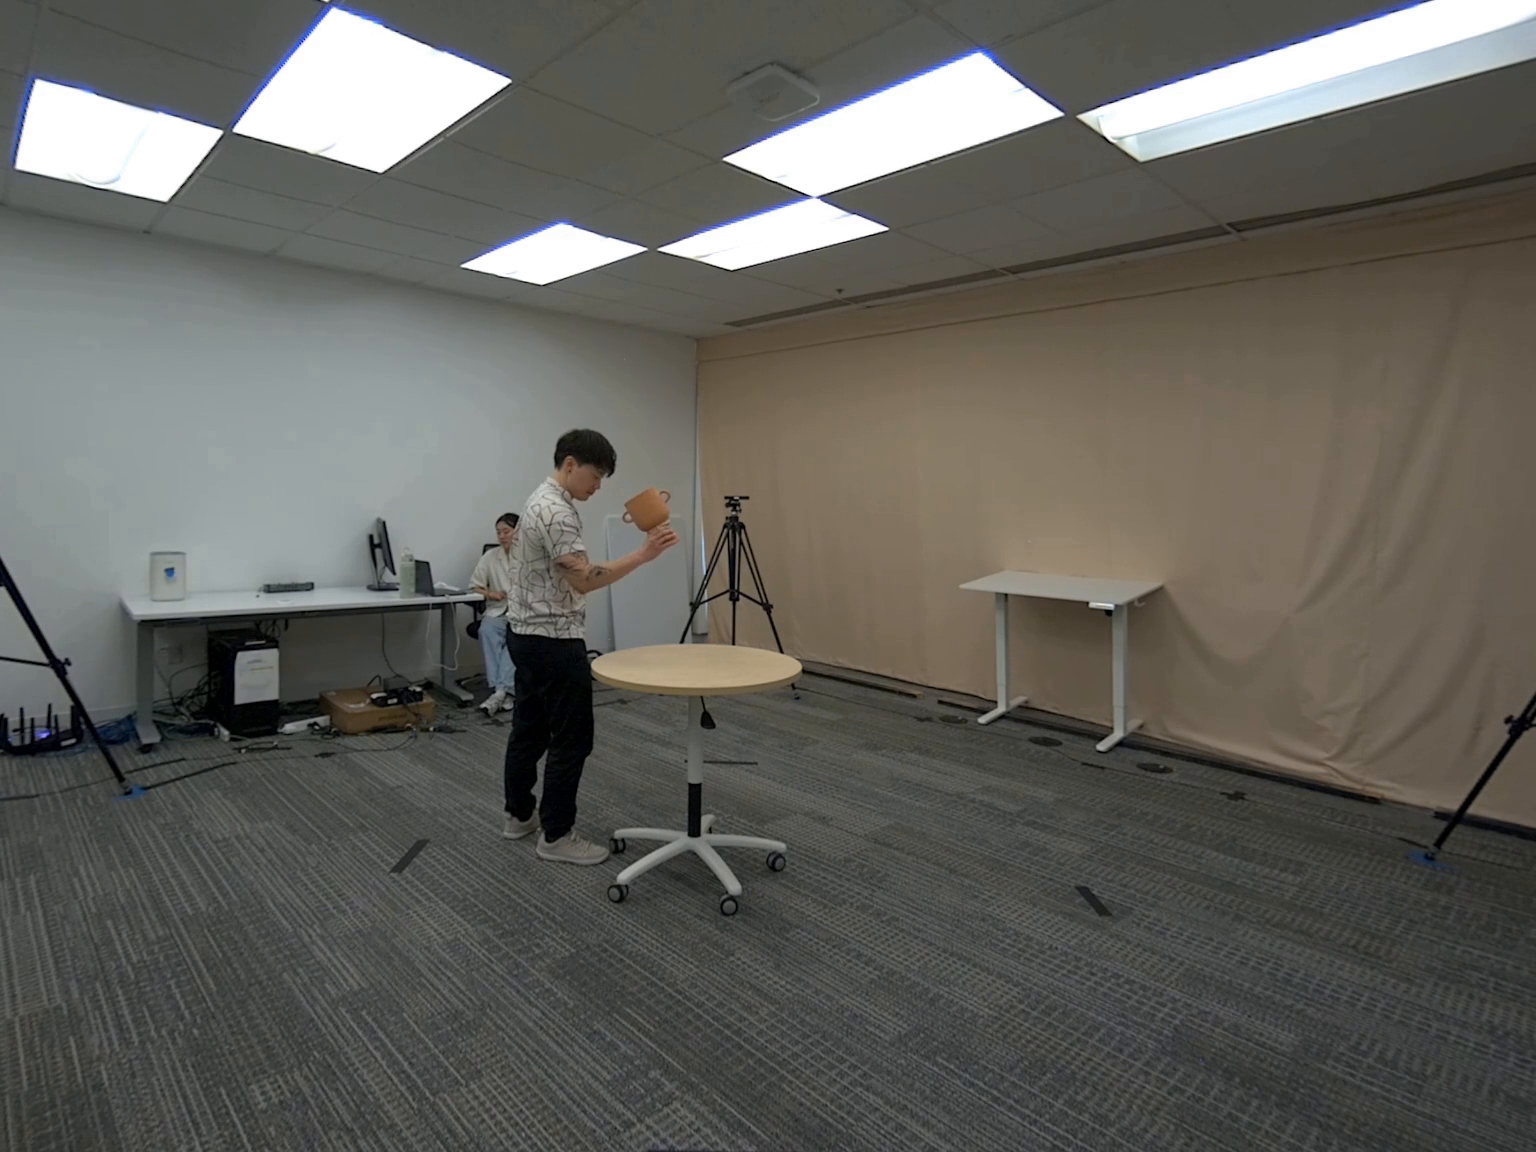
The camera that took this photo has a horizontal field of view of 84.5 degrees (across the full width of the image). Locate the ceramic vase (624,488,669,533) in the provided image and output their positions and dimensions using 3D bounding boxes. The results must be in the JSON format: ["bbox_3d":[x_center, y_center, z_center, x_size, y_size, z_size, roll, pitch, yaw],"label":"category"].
[{"bbox_3d":[-0.430,-0.203,3.092,0.161,0.219,0.133,-25,4,39],"label":"ceramic vase"}]
